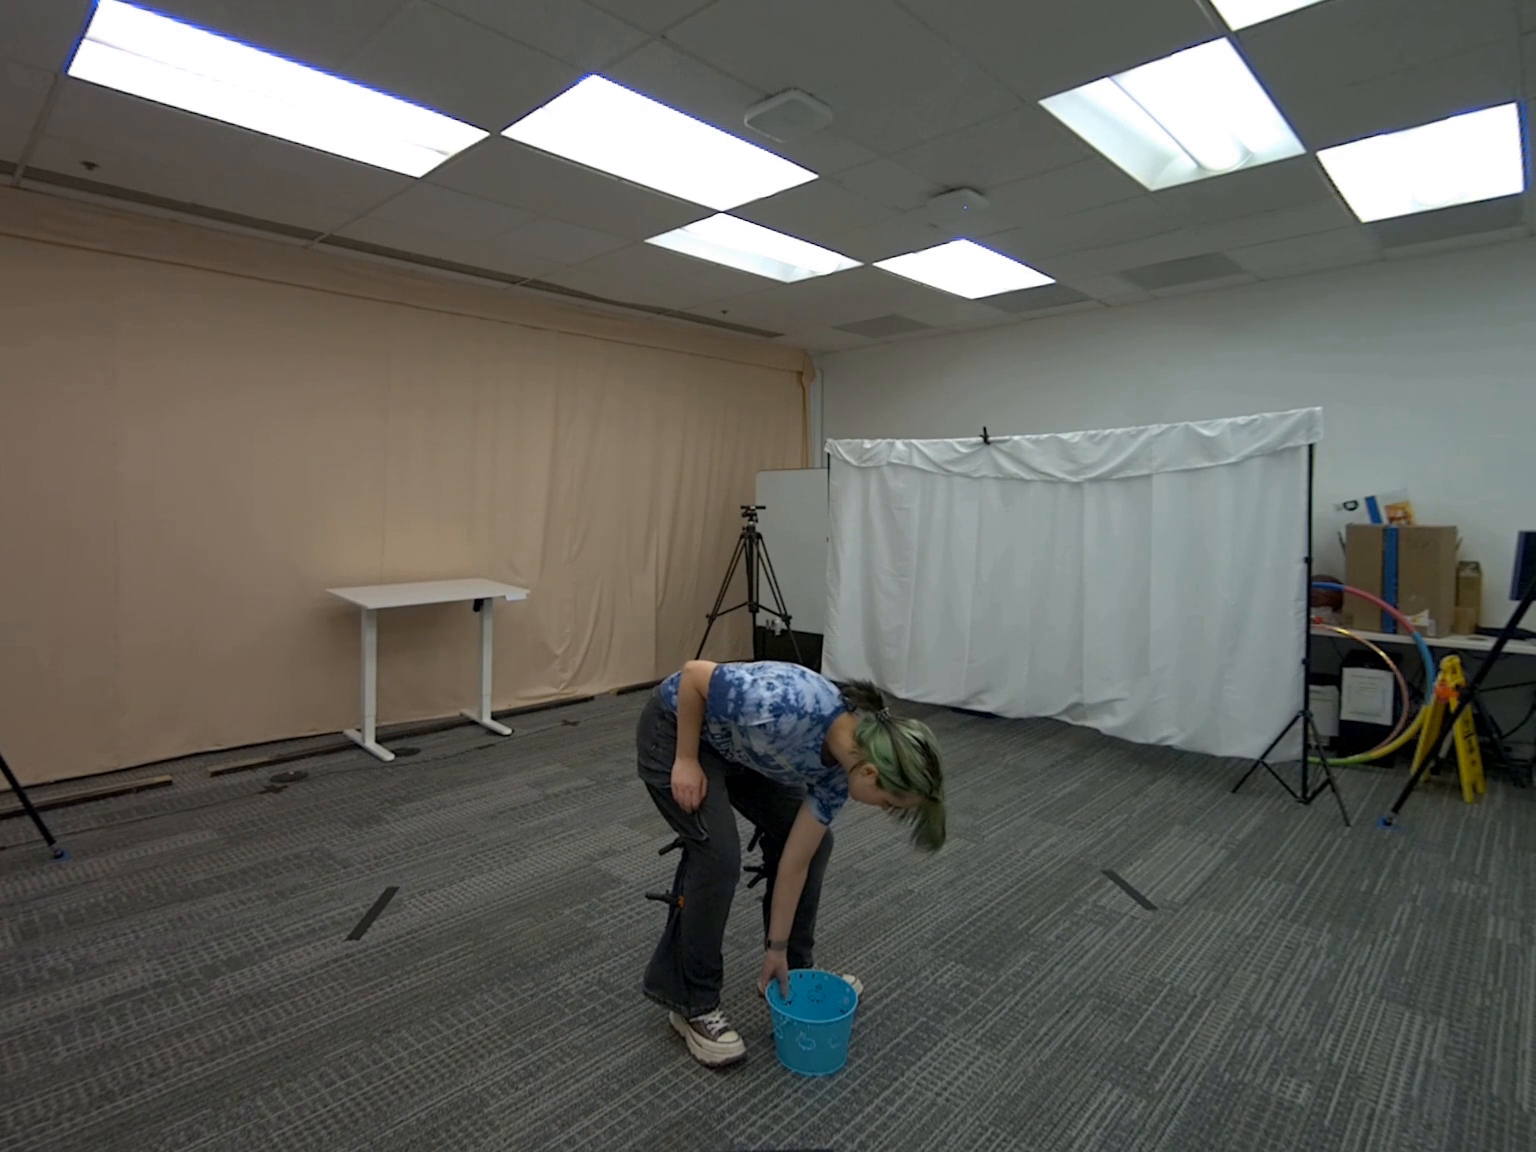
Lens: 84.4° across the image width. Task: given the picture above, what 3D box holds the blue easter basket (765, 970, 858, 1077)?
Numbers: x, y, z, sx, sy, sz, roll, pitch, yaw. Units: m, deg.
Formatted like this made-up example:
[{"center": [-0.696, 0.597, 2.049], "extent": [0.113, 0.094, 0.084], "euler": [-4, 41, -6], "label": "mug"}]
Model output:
[{"center": [0.105, 1.134, 2.147], "extent": [0.243, 0.155, 0.244], "euler": [0, 4, -2], "label": "blue easter basket"}]
